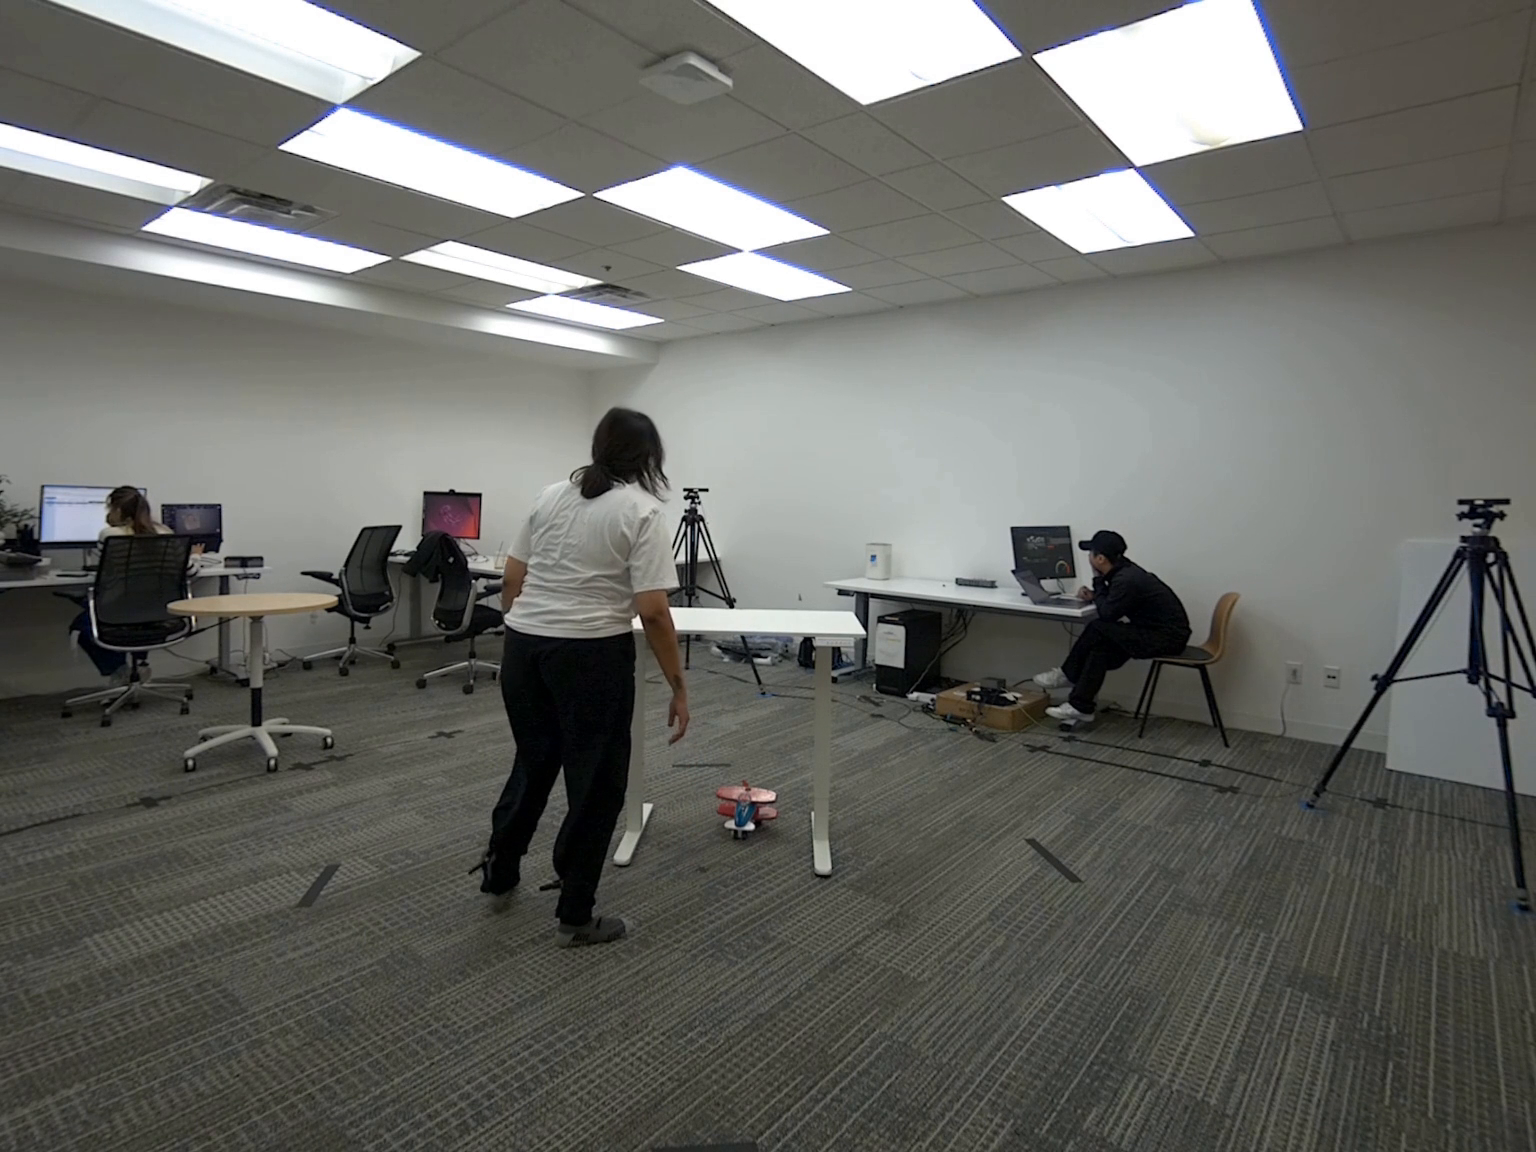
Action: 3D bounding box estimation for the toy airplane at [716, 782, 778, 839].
[{"bbox_3d":[-0.086,0.963,3.477,0.247,0.156,0.264,-1,4,-16],"label":"toy airplane"}]
